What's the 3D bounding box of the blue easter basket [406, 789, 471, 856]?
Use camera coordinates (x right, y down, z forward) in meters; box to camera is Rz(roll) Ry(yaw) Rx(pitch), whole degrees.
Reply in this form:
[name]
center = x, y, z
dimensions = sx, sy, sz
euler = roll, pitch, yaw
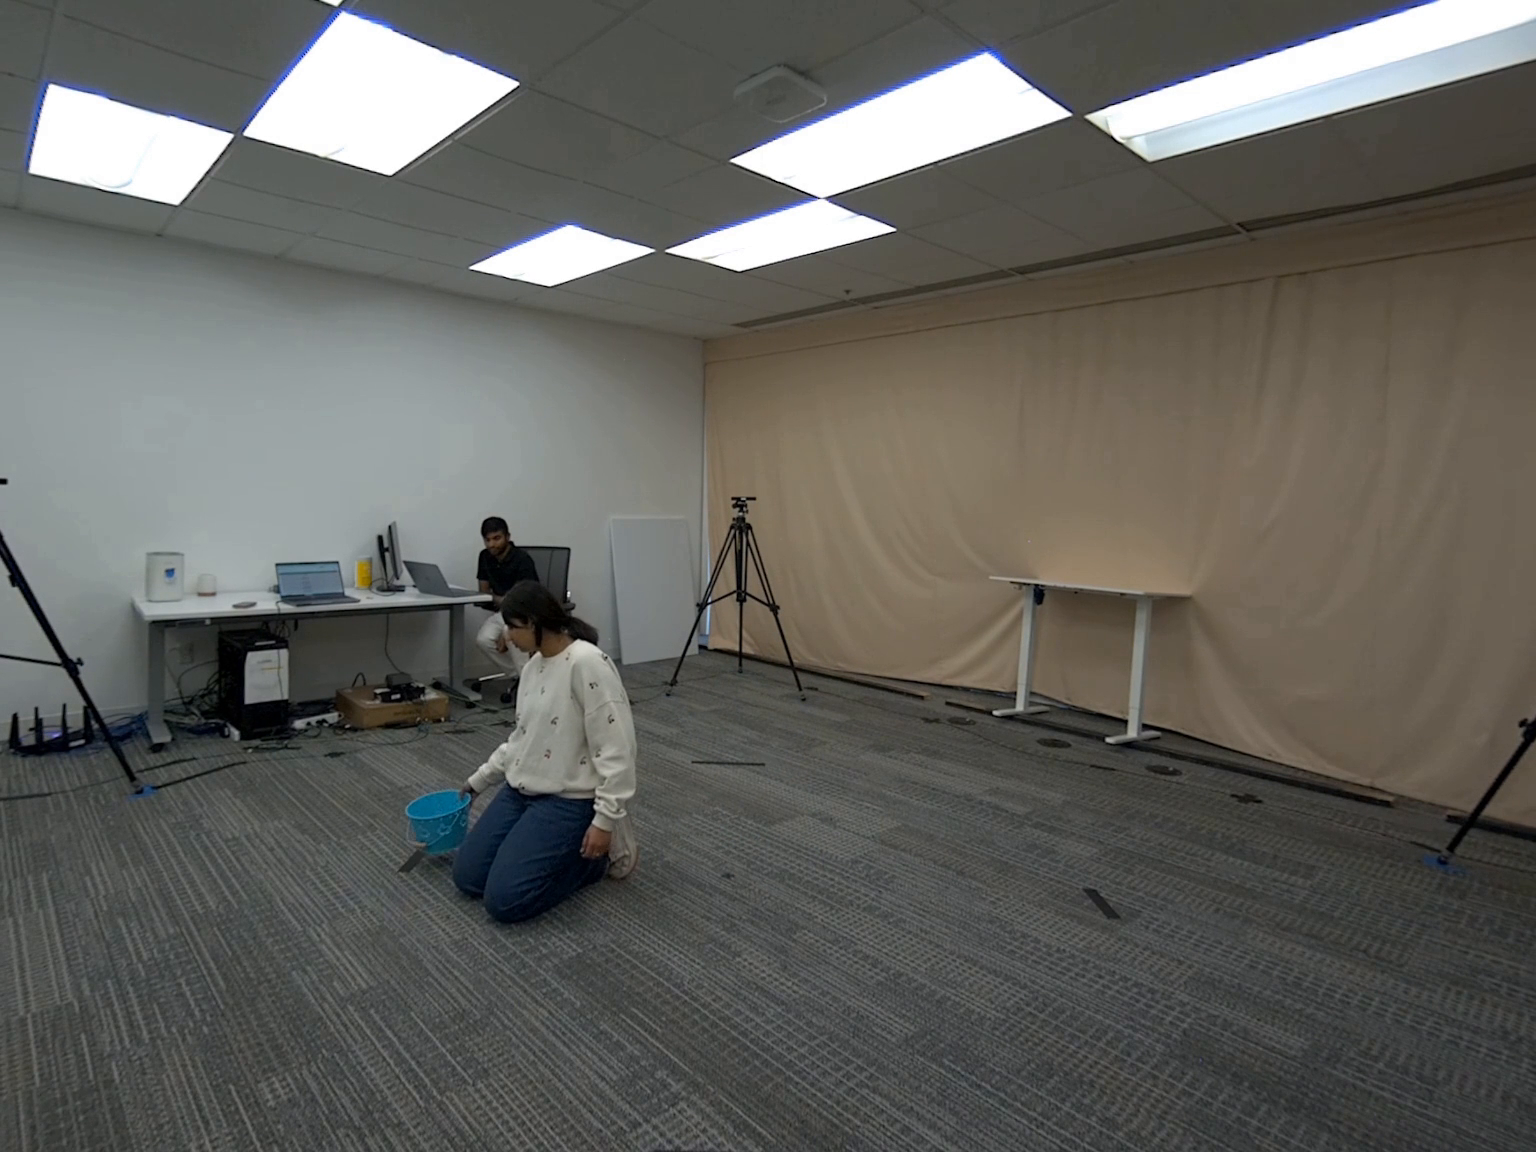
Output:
[blue easter basket]
center = -1.231, 0.919, 3.156
dimensions = 0.243, 0.155, 0.245
euler = -3, 8, -1
